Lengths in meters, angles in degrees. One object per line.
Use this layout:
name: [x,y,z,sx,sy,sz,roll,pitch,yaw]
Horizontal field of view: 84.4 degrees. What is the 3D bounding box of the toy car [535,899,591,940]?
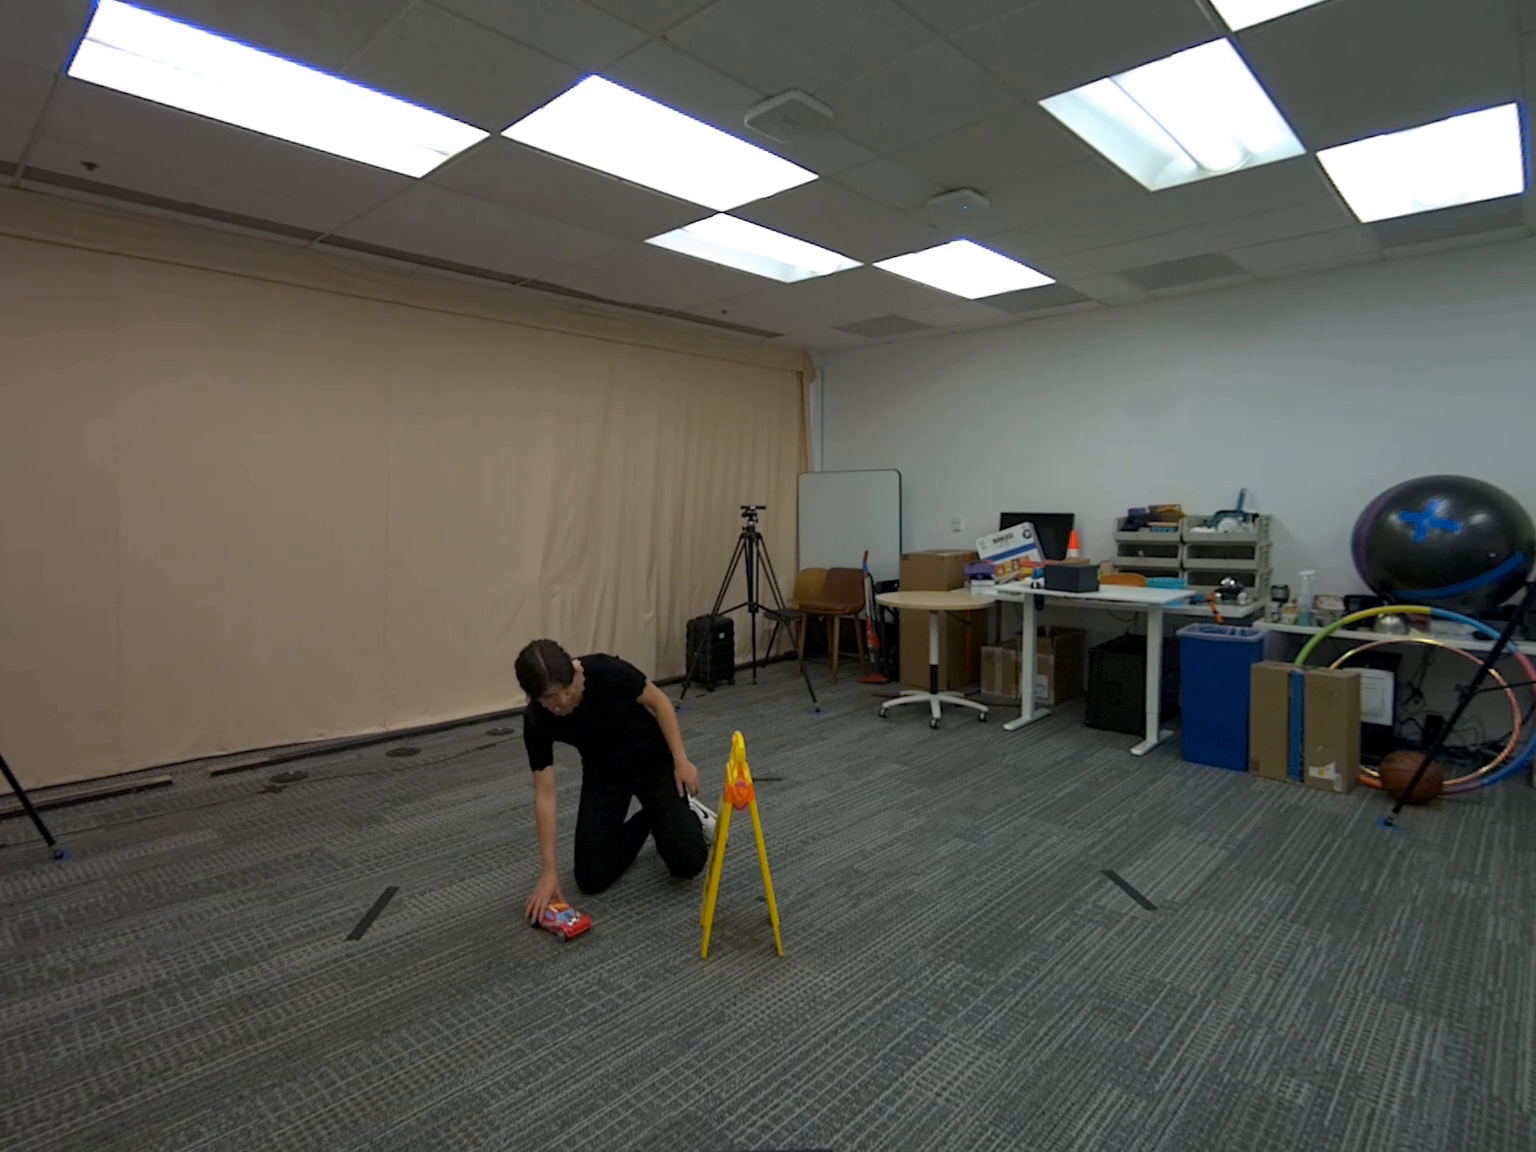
toy car: [-0.706,1.134,2.799,0.264,0.083,0.126,17,15,40]
